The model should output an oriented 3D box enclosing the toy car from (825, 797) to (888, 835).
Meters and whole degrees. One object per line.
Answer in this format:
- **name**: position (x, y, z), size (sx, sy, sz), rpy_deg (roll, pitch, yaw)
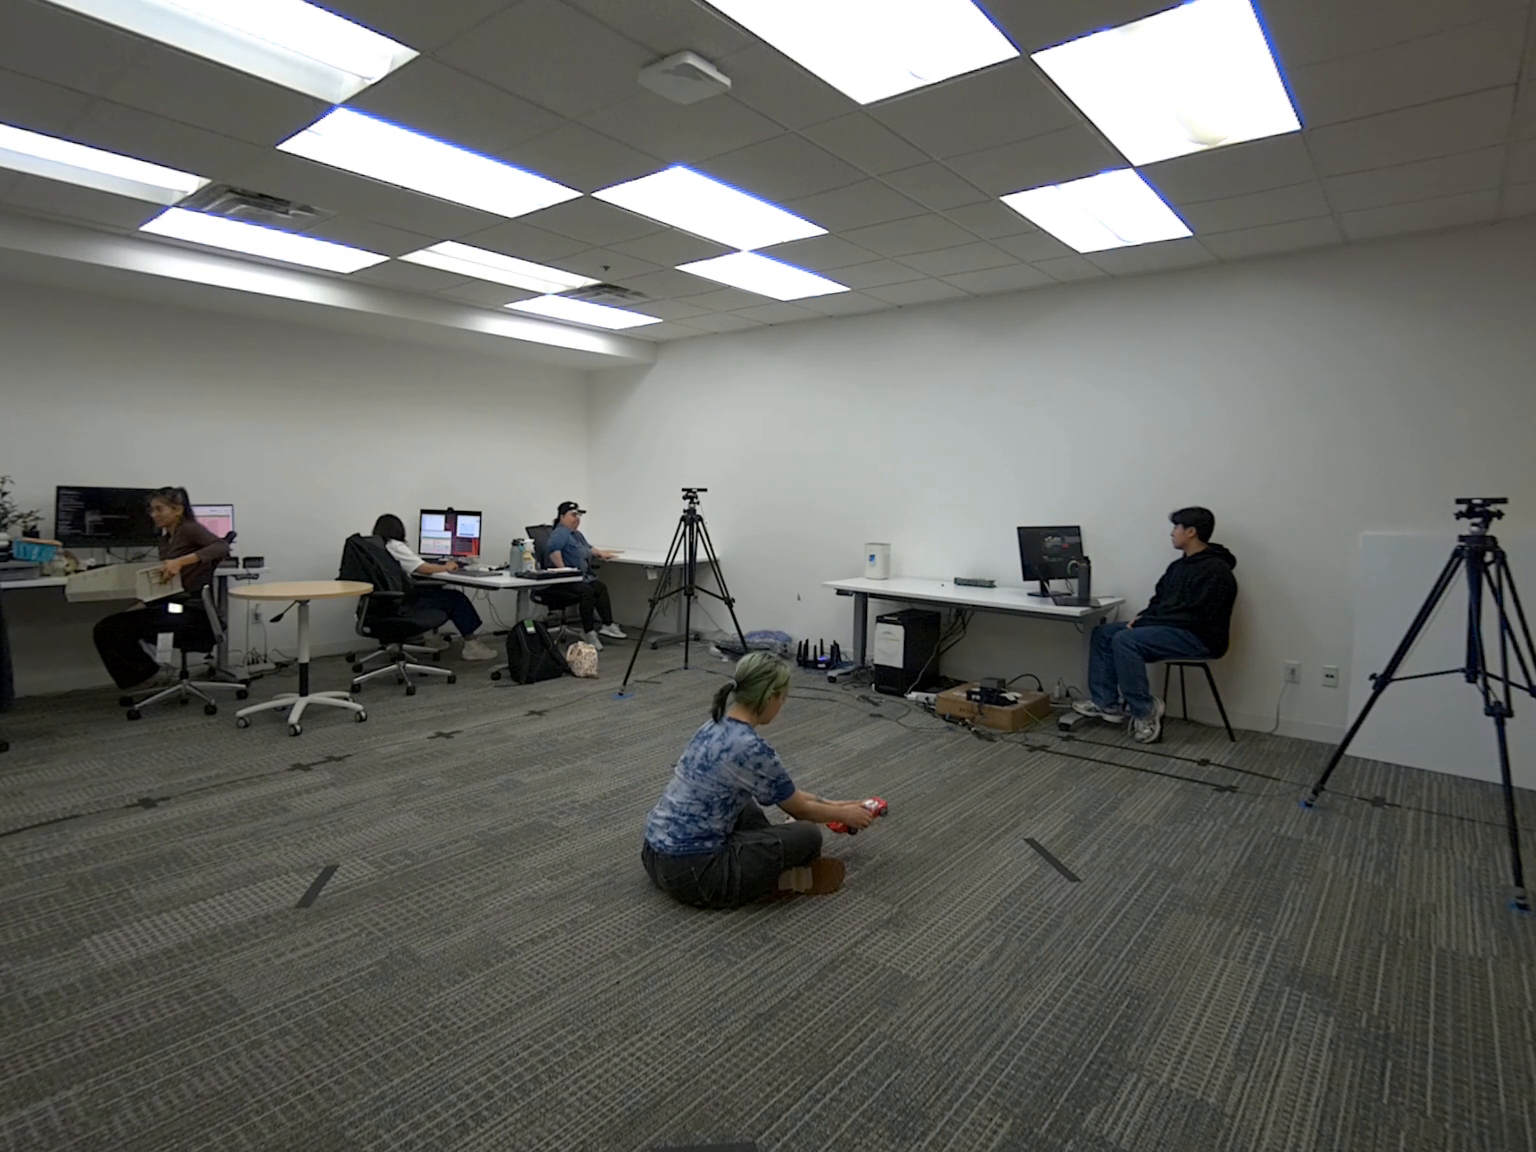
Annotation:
- **toy car**: position (0.323, 0.922, 3.246), size (0.250, 0.082, 0.133), rpy_deg (-13, 8, -23)
